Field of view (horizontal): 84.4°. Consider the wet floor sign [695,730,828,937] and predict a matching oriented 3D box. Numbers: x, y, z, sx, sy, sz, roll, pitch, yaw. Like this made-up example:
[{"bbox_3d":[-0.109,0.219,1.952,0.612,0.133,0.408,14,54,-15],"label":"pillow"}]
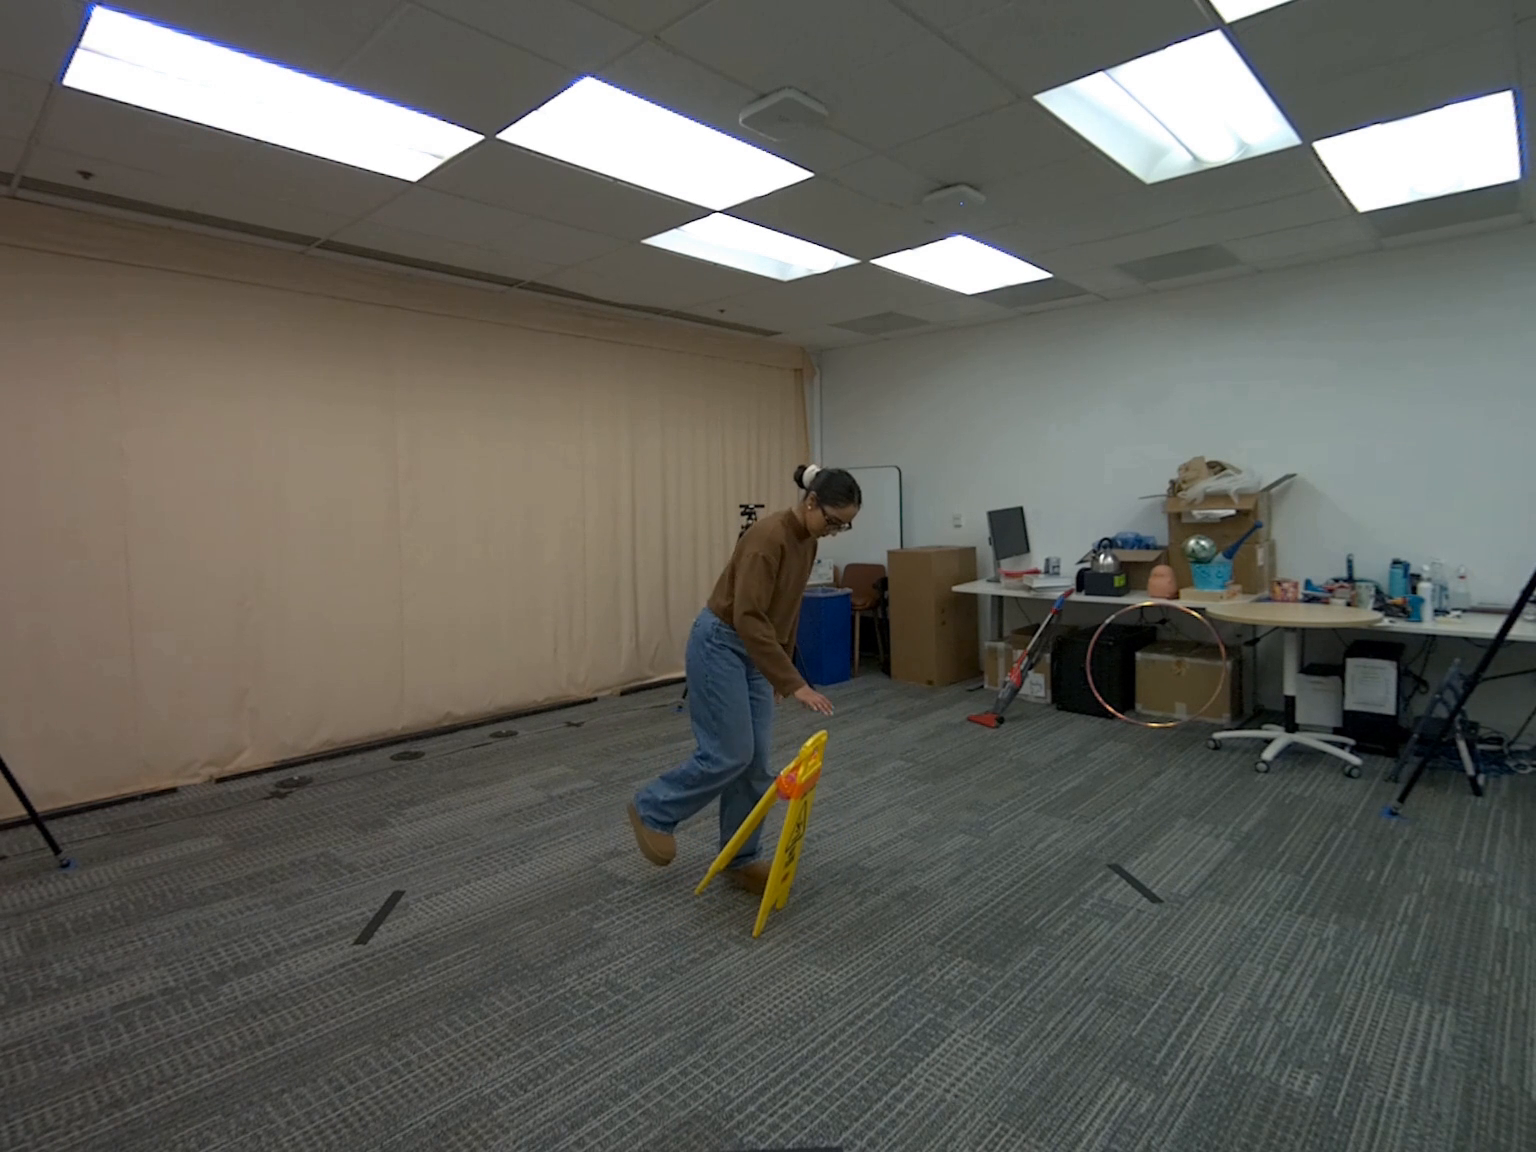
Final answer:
[{"bbox_3d":[0.034,0.808,2.796,0.296,0.645,0.277,28,13,17],"label":"wet floor sign"}]
